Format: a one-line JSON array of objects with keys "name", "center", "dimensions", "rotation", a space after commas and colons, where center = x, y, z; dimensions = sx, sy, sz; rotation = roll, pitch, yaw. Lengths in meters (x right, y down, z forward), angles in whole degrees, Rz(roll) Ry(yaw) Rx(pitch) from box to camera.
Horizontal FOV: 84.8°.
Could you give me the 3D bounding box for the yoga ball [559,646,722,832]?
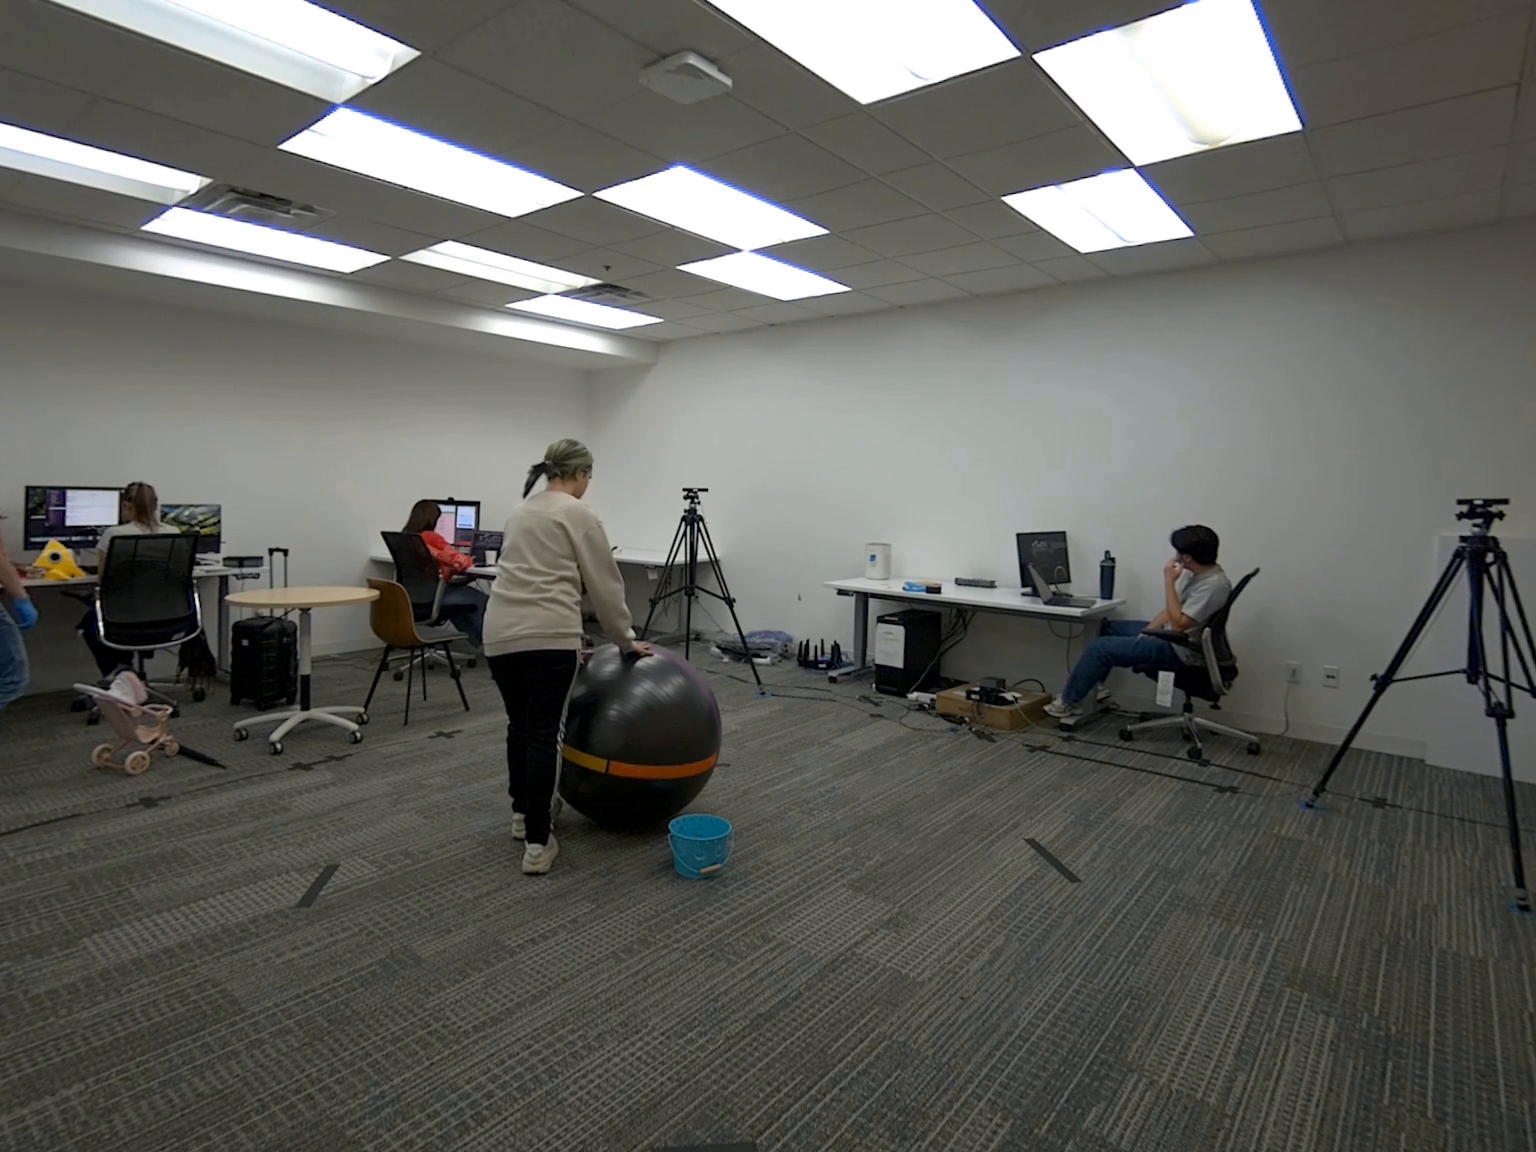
[{"name": "yoga ball", "center": [-0.587, 0.657, 3.560], "dimensions": [0.757, 0.755, 0.762], "rotation": [1, 4, -2]}]
